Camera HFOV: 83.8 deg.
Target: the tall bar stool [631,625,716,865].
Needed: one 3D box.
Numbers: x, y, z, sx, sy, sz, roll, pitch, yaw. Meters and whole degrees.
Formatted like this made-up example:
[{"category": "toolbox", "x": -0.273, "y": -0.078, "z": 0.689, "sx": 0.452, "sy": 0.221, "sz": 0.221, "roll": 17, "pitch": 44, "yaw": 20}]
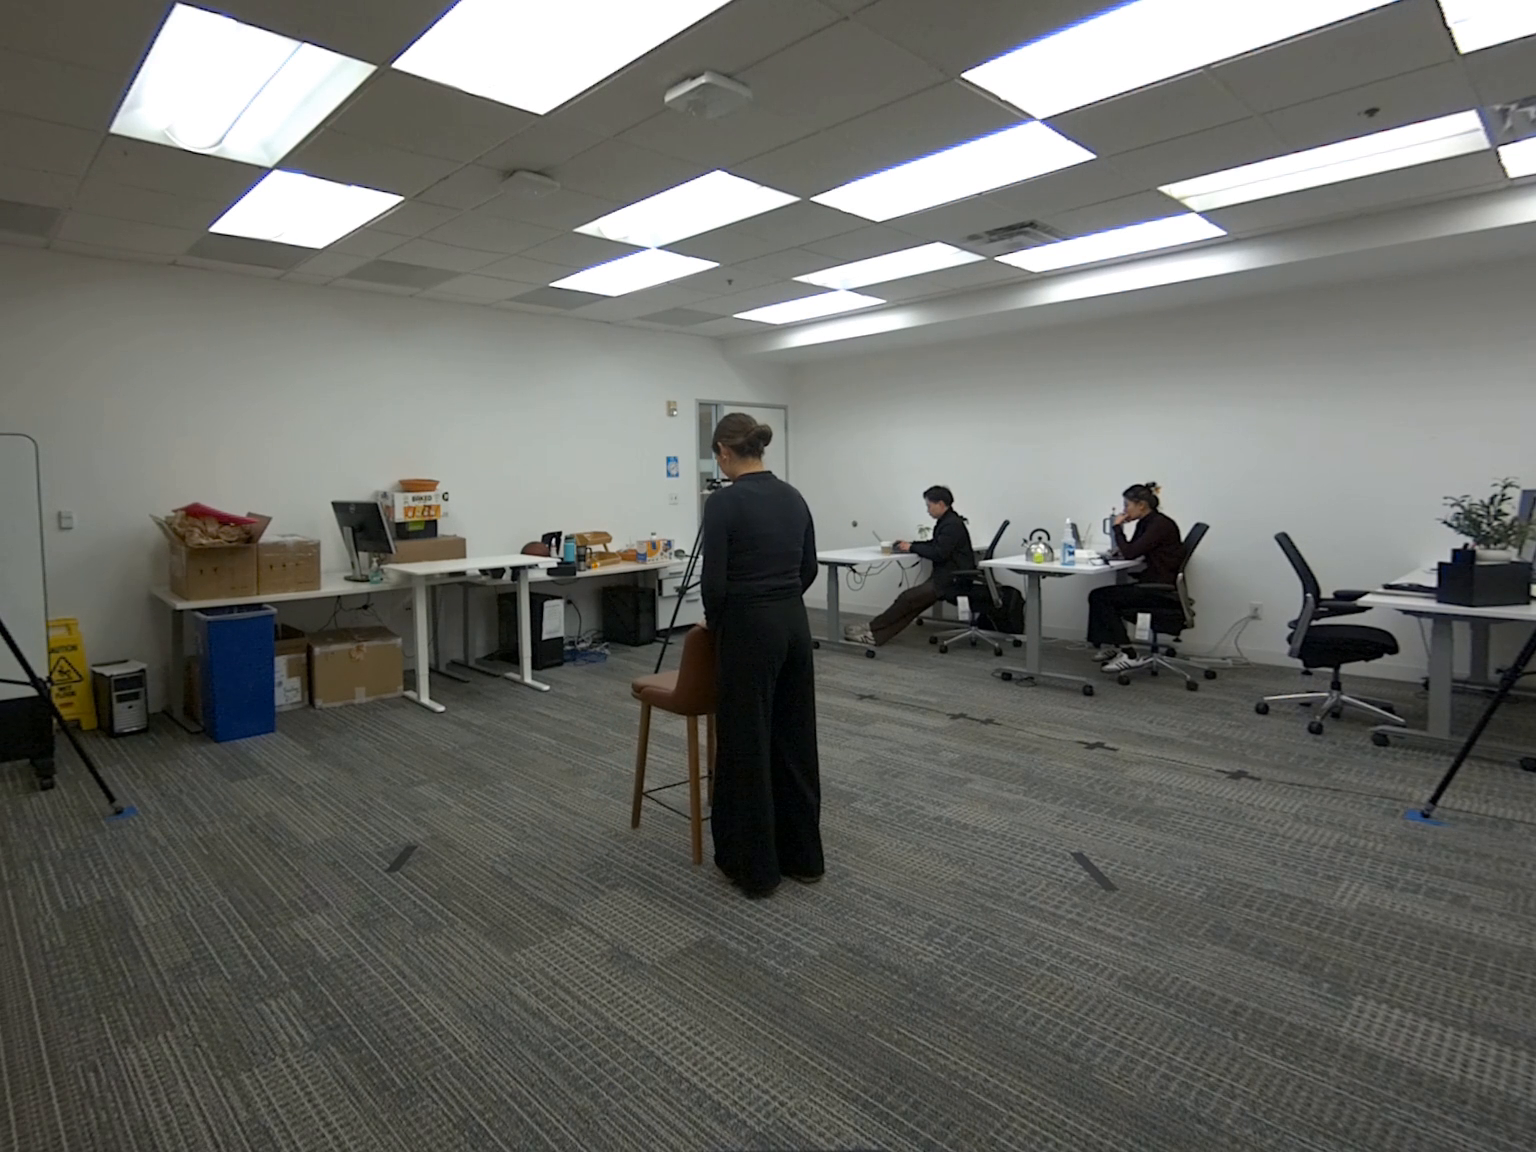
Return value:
[{"category": "tall bar stool", "x": -0.254, "y": 0.580, "z": 3.351, "sx": 0.445, "sy": 0.885, "sz": 0.482, "roll": -4, "pitch": 7, "yaw": -37}]
